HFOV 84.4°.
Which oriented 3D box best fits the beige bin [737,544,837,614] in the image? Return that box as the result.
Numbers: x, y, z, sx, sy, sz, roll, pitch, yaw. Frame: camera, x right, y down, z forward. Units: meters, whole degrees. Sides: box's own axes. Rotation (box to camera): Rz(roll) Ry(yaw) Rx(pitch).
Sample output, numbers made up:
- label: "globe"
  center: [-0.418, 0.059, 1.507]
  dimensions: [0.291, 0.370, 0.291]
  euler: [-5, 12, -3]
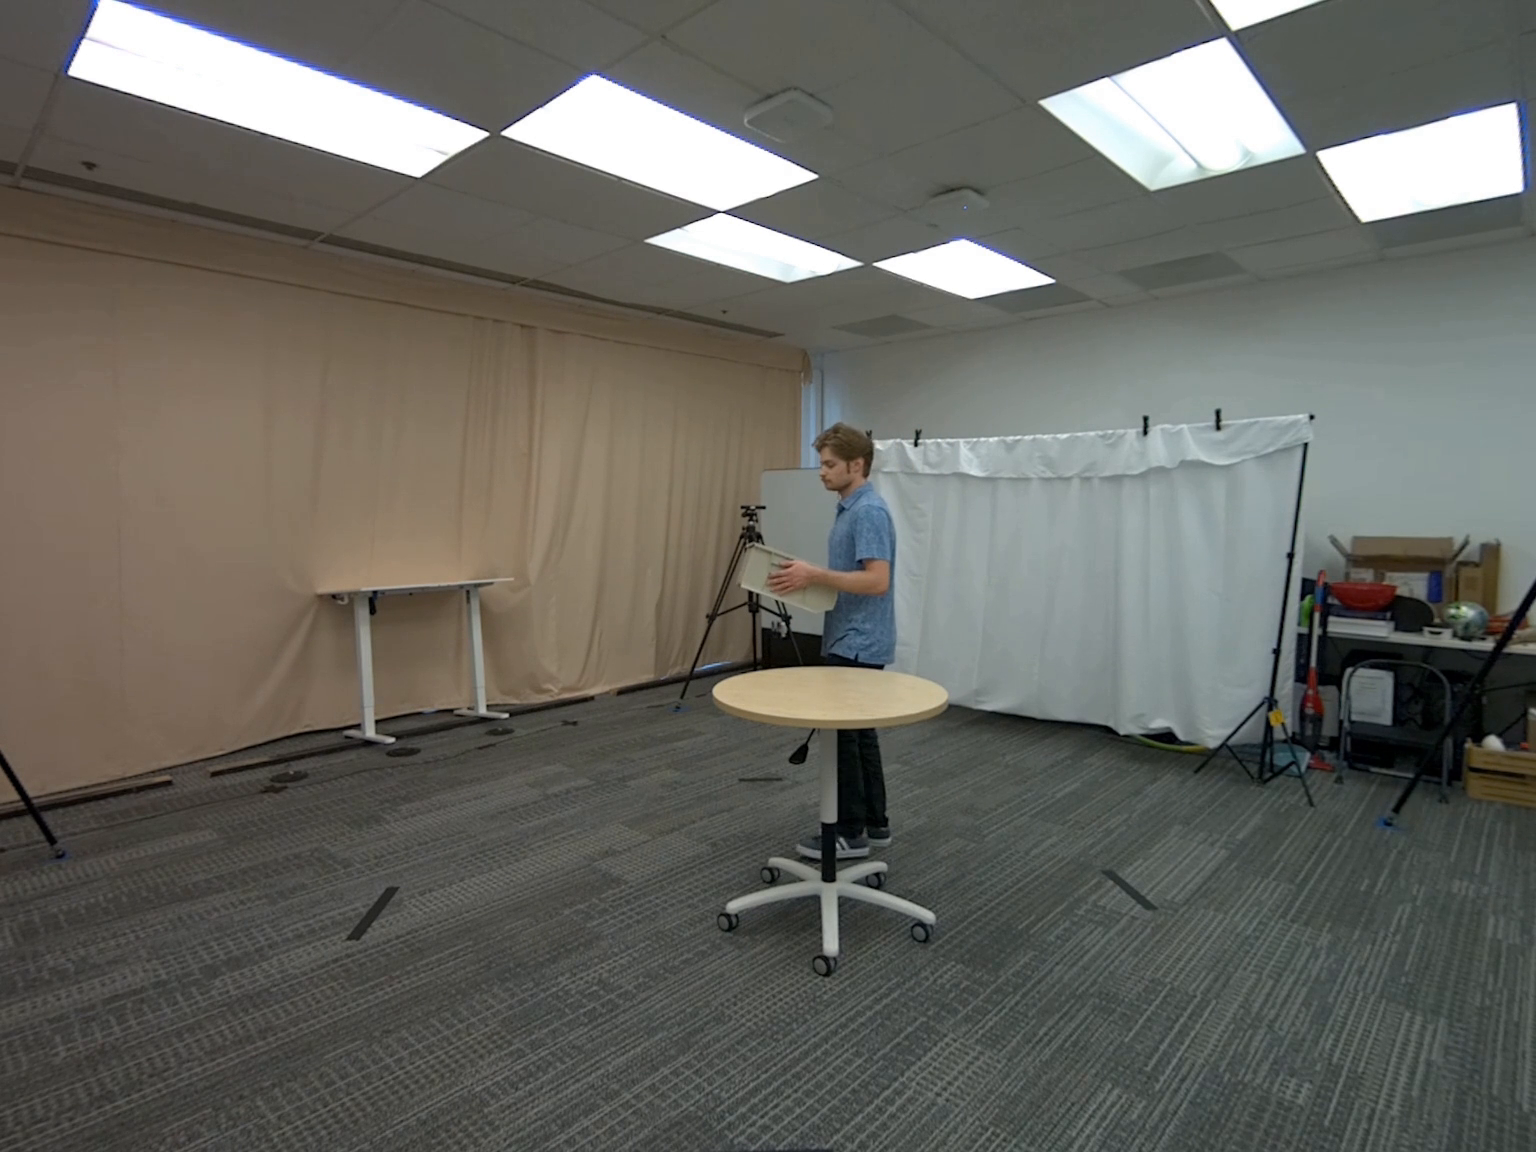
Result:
- label: "beige bin"
  center: [0.080, 0.021, 3.448]
  dimensions: [0.376, 0.189, 0.423]
  euler: [19, -1, -3]
